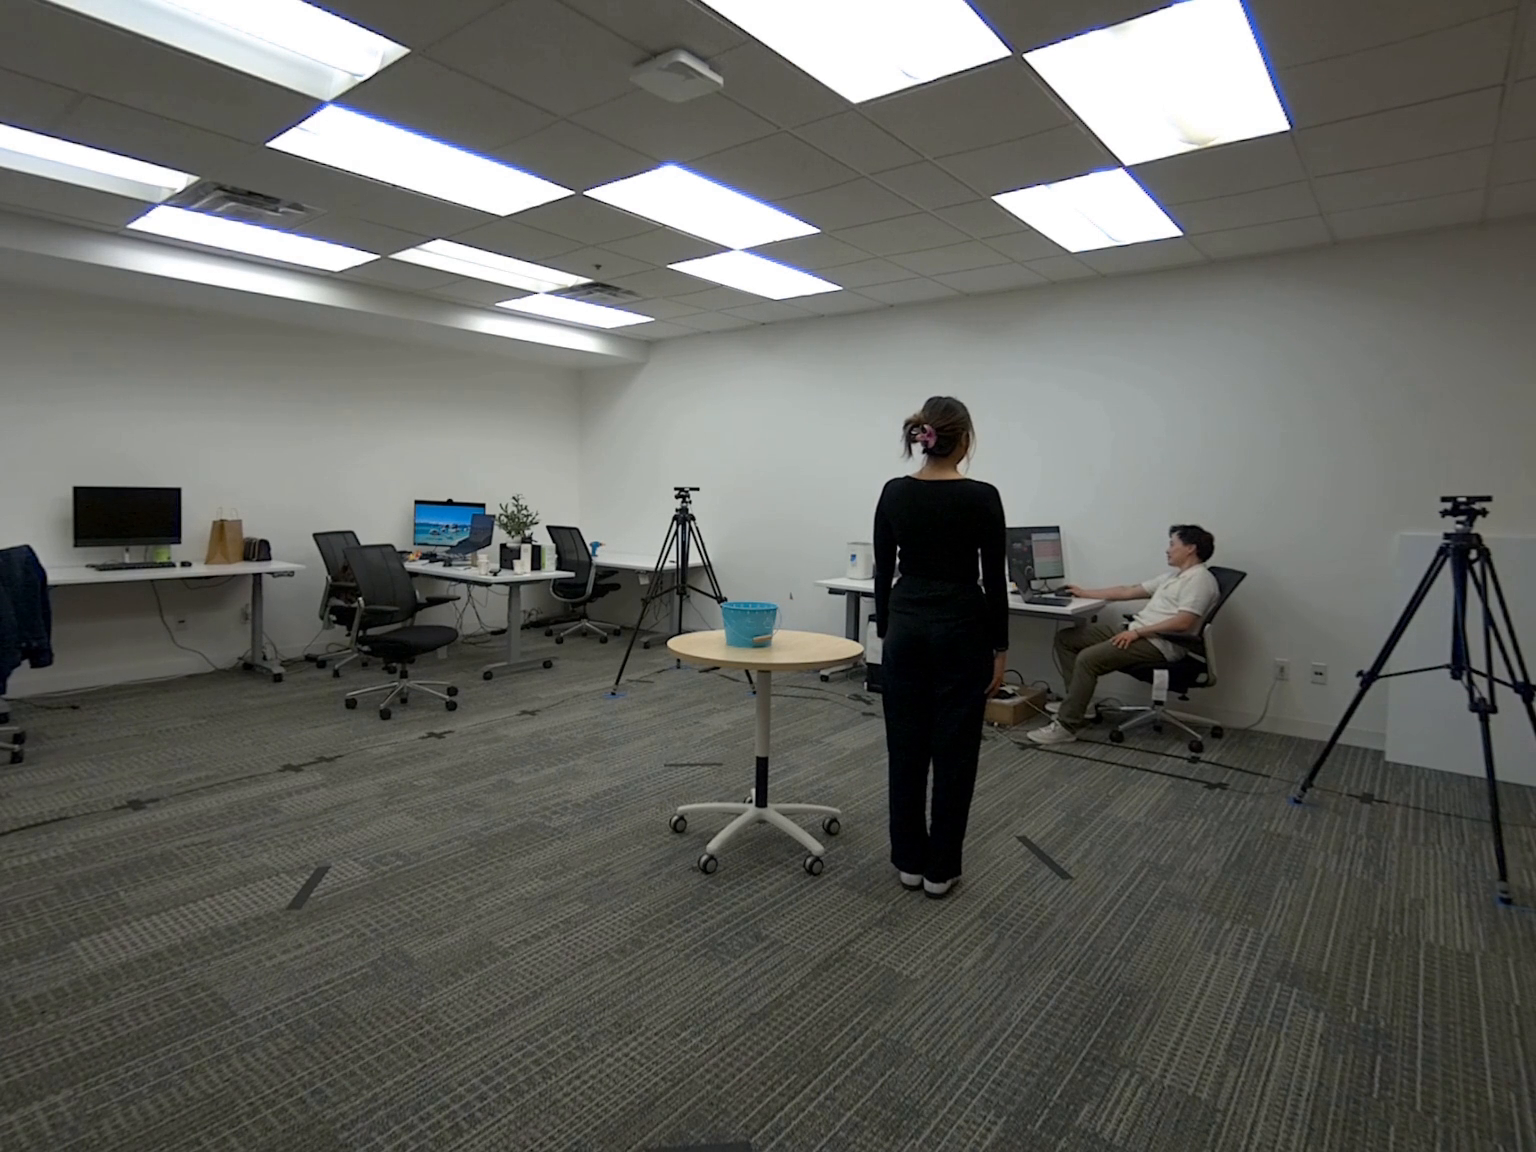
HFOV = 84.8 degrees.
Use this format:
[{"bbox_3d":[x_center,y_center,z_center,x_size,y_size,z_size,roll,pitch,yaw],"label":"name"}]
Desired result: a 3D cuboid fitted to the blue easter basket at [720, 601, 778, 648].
[{"bbox_3d":[-0.084,0.192,3.334,0.243,0.155,0.244,1,4,-2],"label":"blue easter basket"}]
